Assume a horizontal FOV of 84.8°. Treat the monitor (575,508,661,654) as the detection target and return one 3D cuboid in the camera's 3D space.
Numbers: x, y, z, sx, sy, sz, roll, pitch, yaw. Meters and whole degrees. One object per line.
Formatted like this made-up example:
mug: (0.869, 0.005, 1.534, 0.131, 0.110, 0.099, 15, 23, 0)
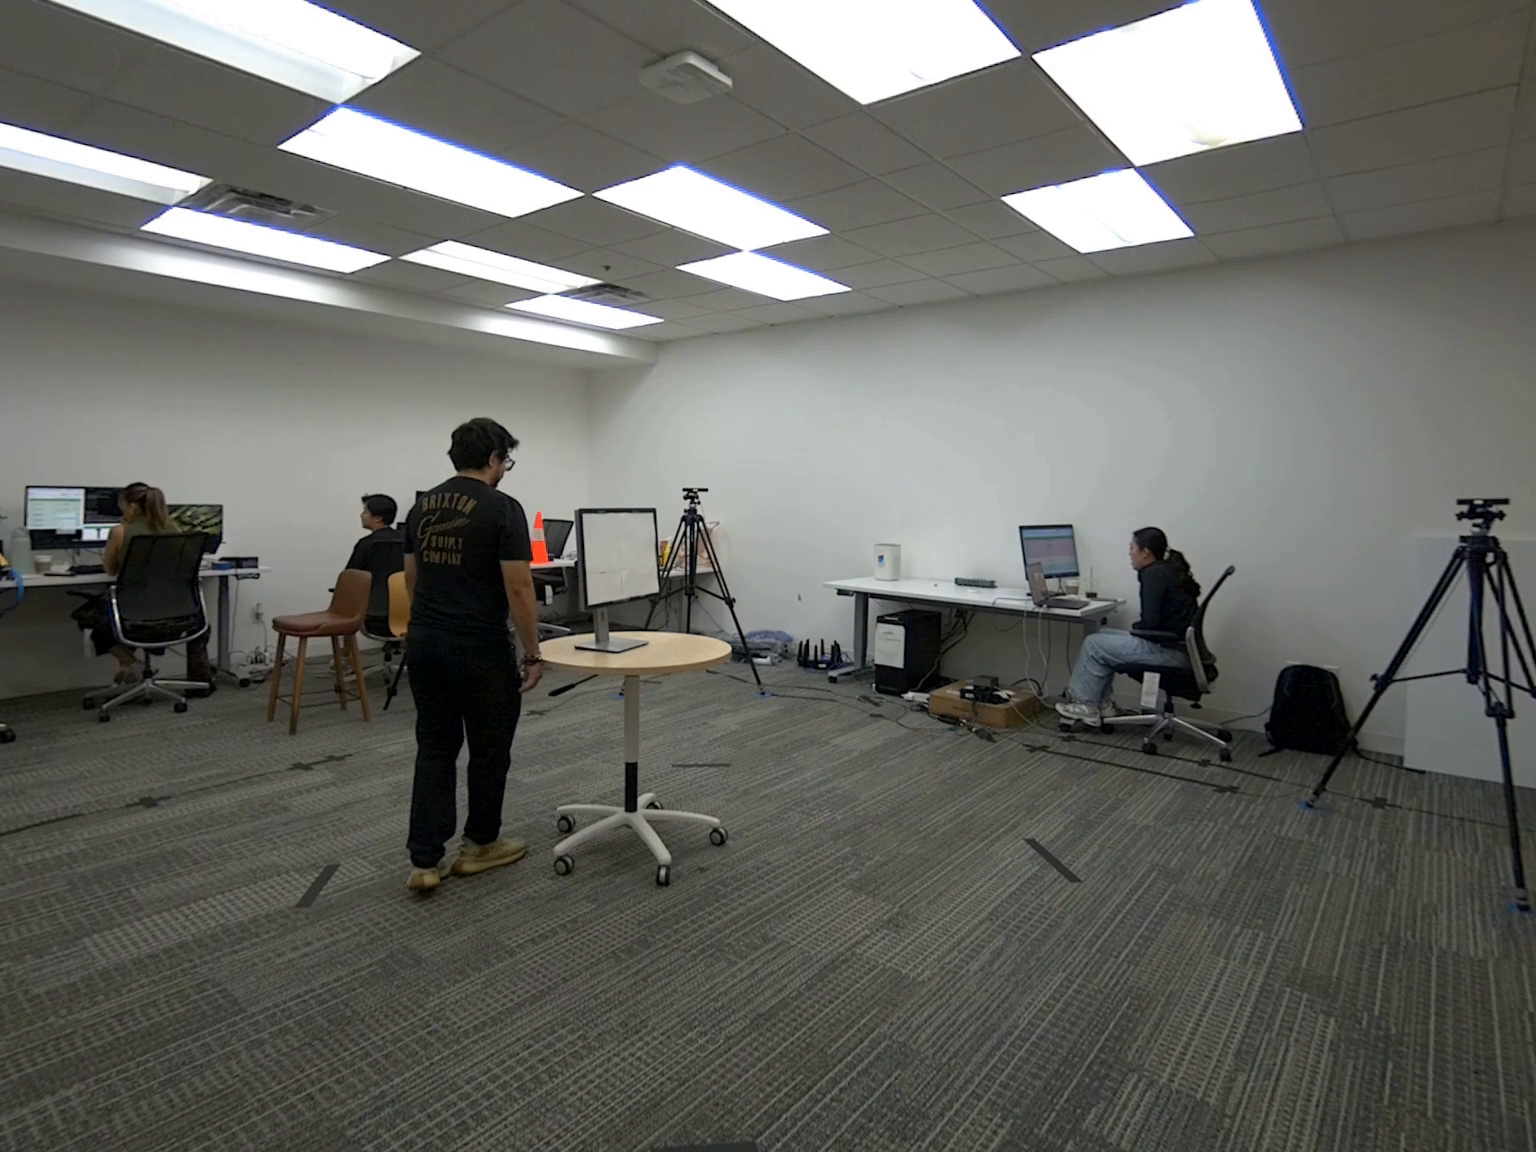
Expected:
monitor: (-0.638, 0.009, 3.298, 0.215, 0.553, 0.553, 0, 3, 24)
